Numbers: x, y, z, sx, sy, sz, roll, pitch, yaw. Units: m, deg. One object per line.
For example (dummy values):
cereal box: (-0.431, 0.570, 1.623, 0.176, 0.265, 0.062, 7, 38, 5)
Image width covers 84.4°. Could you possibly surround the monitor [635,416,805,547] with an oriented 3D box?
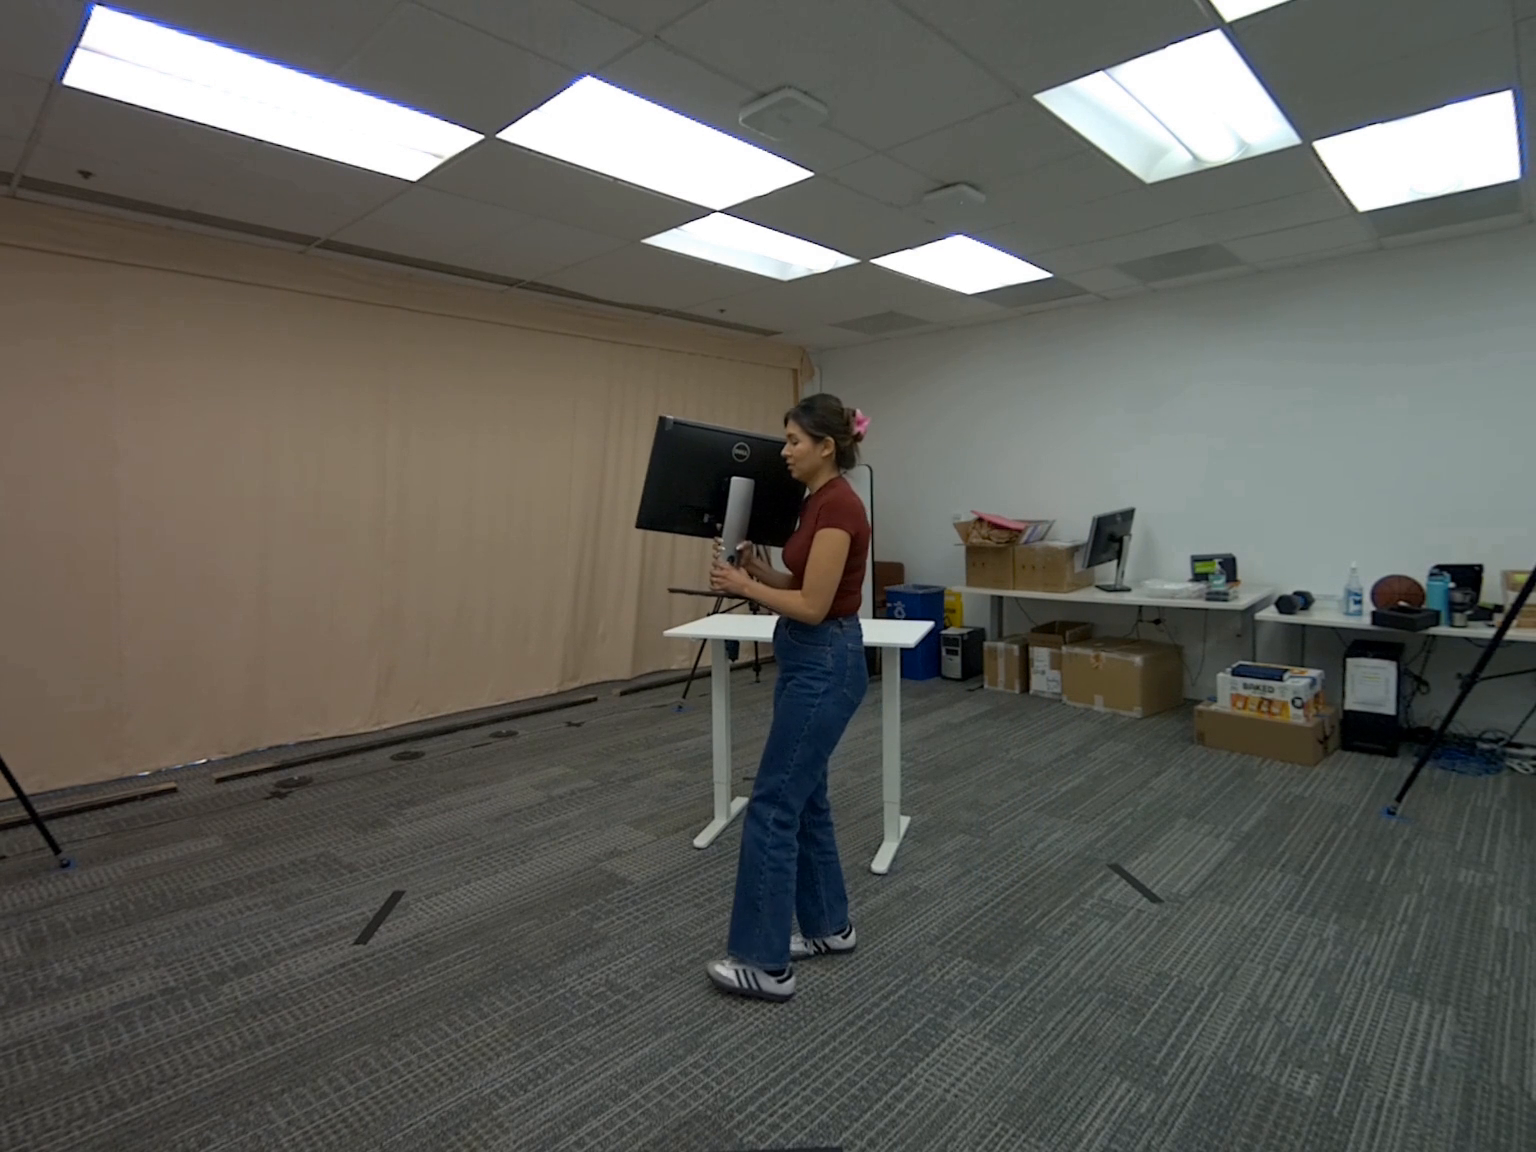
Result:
monitor: (-0.118, -0.186, 2.581, 0.525, 0.522, 0.192, 7, 3, -24)
